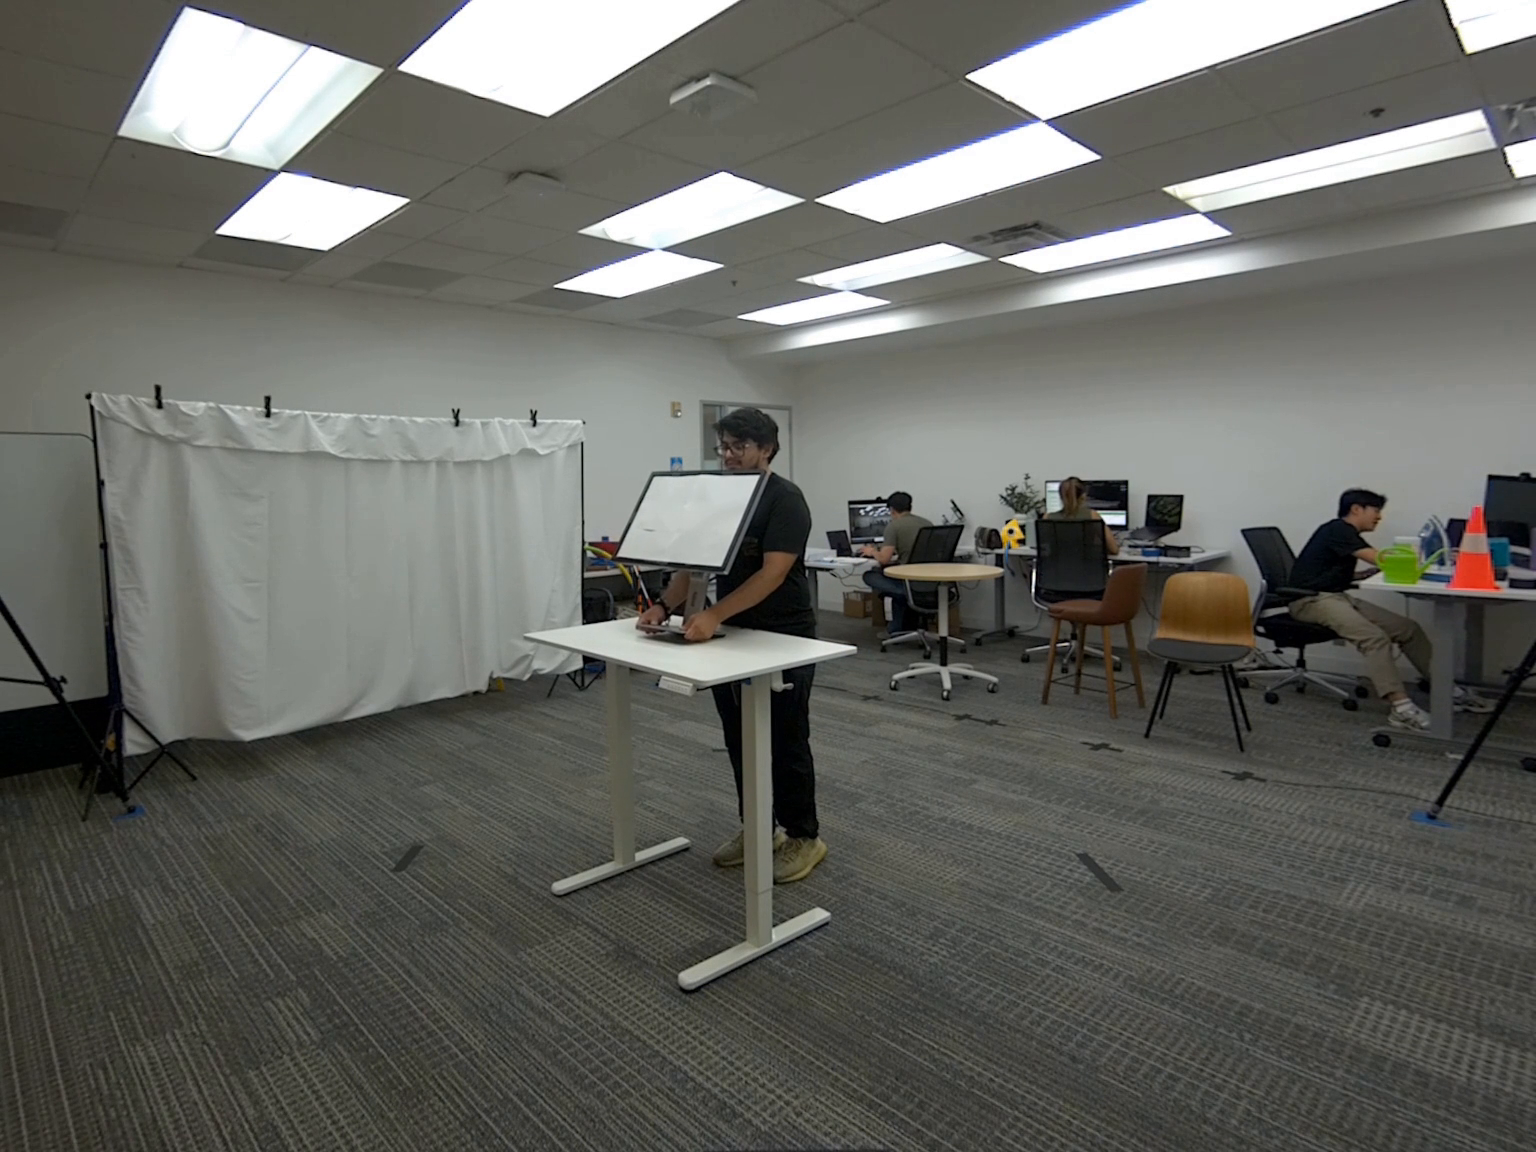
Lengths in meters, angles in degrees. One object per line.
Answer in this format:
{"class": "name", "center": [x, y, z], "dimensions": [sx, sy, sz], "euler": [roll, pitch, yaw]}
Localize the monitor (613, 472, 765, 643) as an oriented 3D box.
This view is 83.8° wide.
{"class": "monitor", "center": [-0.242, -0.076, 2.843], "dimensions": [0.583, 0.558, 0.202], "euler": [5, -17, 43]}
